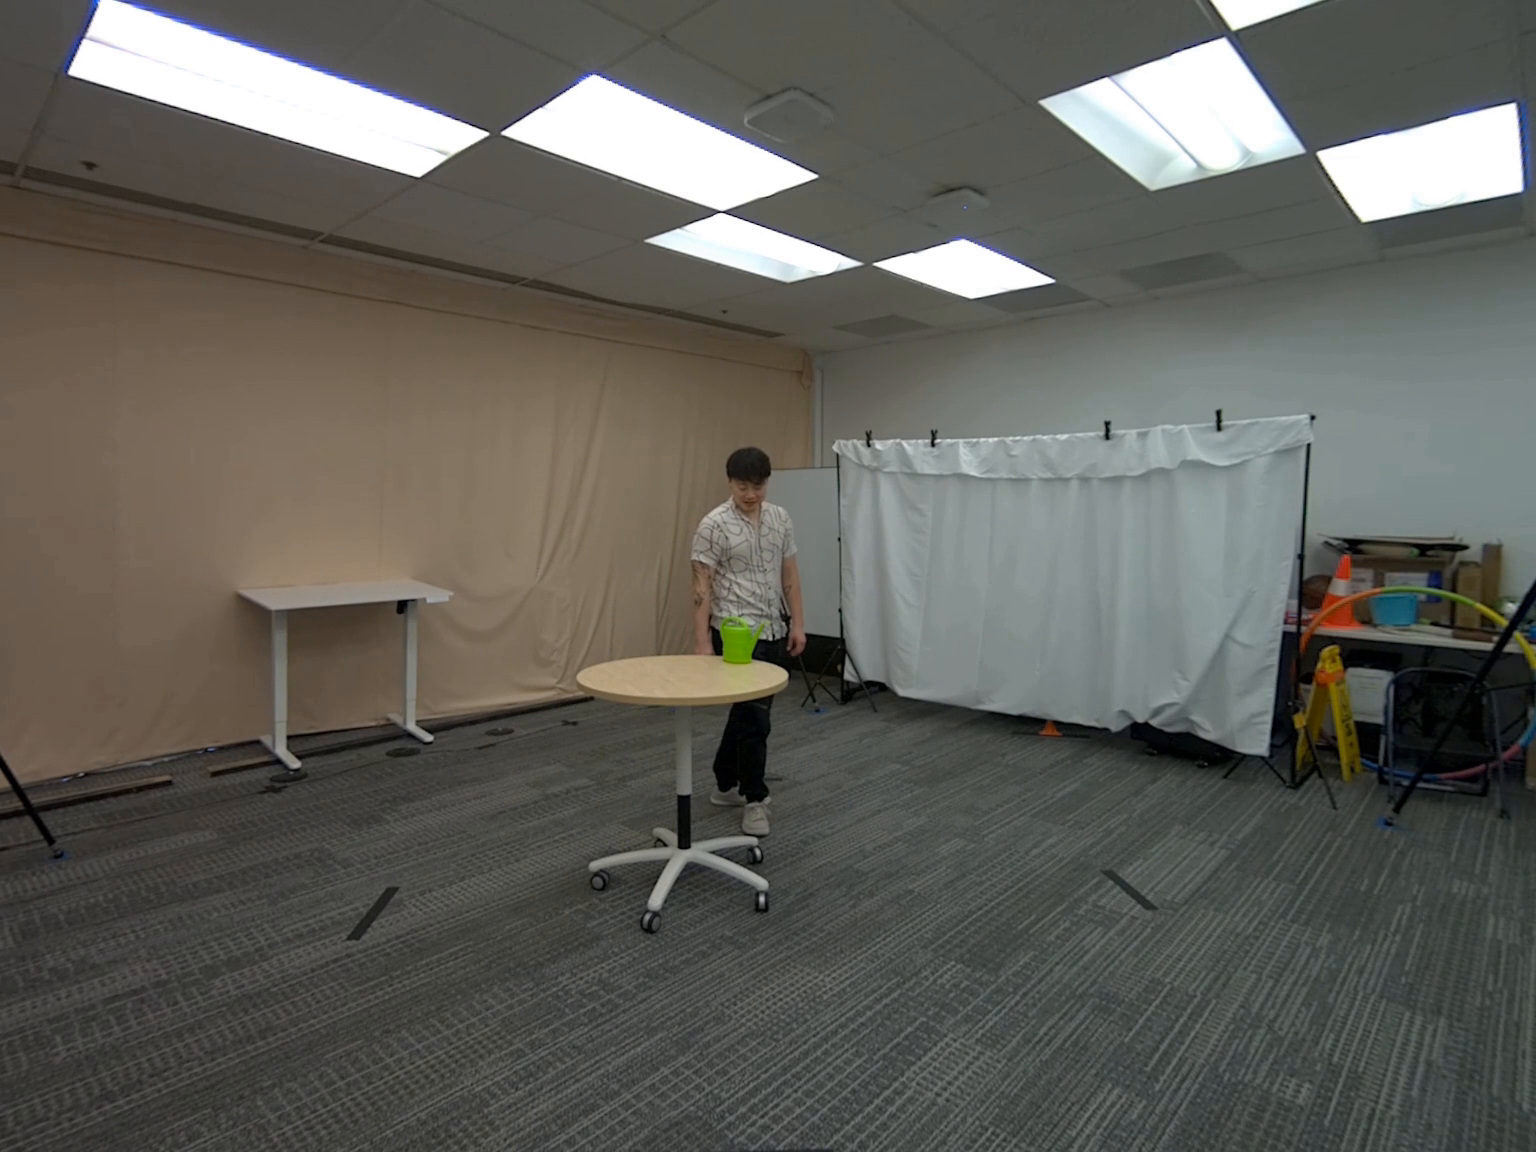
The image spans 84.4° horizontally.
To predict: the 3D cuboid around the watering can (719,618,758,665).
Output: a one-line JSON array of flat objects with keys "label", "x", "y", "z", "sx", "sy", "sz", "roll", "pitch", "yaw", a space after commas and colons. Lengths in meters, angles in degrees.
[{"label": "watering can", "x": -0.097, "y": 0.250, "z": 3.263, "sx": 0.095, "sy": 0.176, "sz": 0.286, "roll": -3, "pitch": 2, "yaw": -29}]
